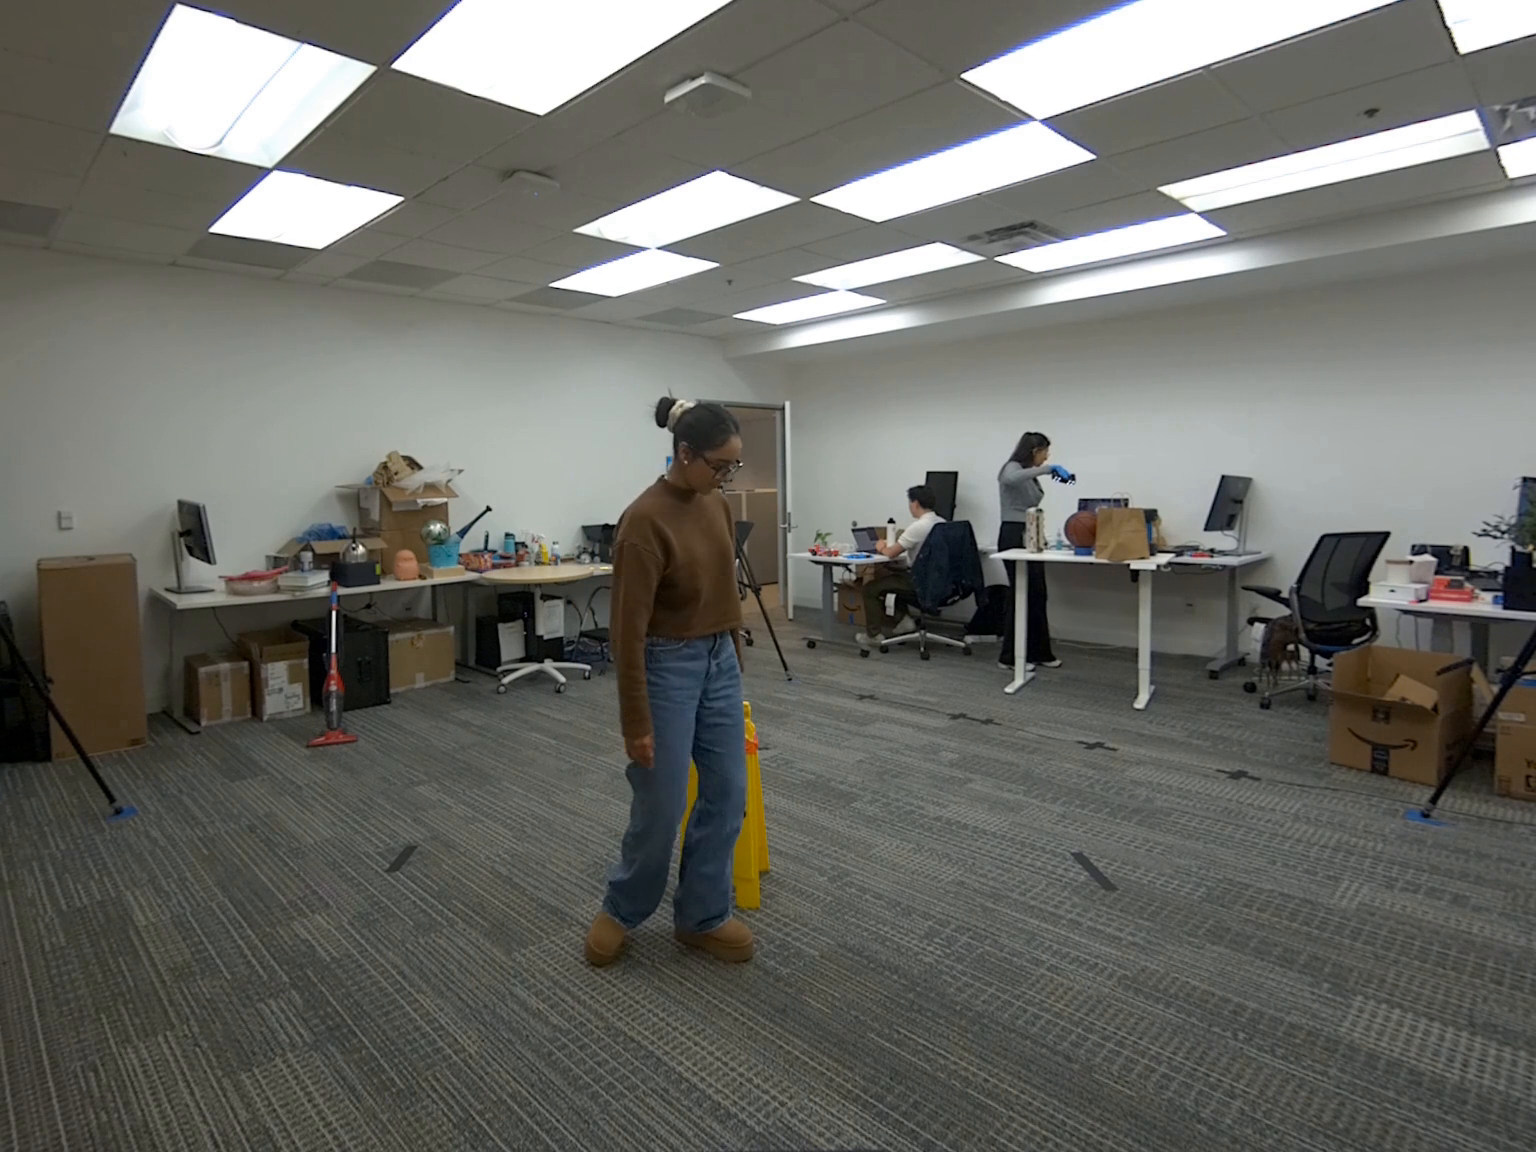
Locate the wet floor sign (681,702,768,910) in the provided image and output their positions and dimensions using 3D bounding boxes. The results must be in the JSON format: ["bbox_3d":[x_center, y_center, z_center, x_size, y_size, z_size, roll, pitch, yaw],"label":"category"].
[{"bbox_3d":[-0.138,0.750,2.910,0.285,0.643,0.288,0,4,9],"label":"wet floor sign"}]
